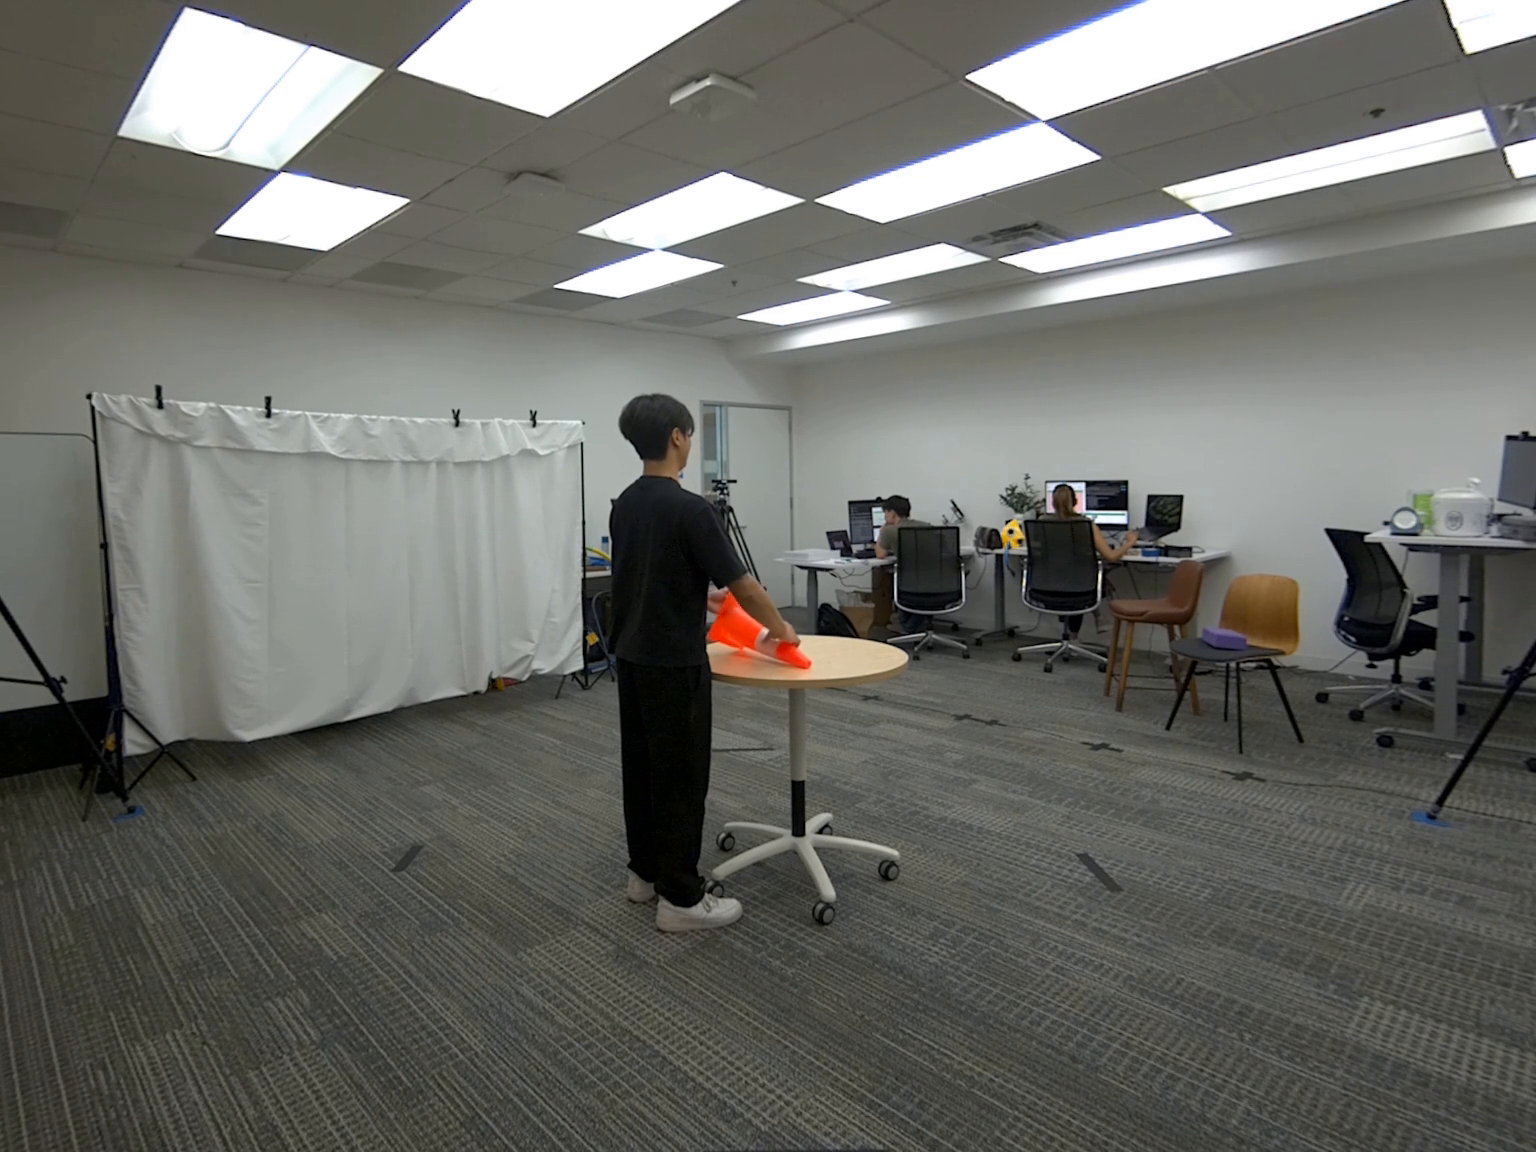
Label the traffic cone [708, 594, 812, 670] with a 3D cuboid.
[{"bbox_3d":[0.004,0.224,2.893,0.197,0.203,0.398,20,6,-43],"label":"traffic cone"}]
